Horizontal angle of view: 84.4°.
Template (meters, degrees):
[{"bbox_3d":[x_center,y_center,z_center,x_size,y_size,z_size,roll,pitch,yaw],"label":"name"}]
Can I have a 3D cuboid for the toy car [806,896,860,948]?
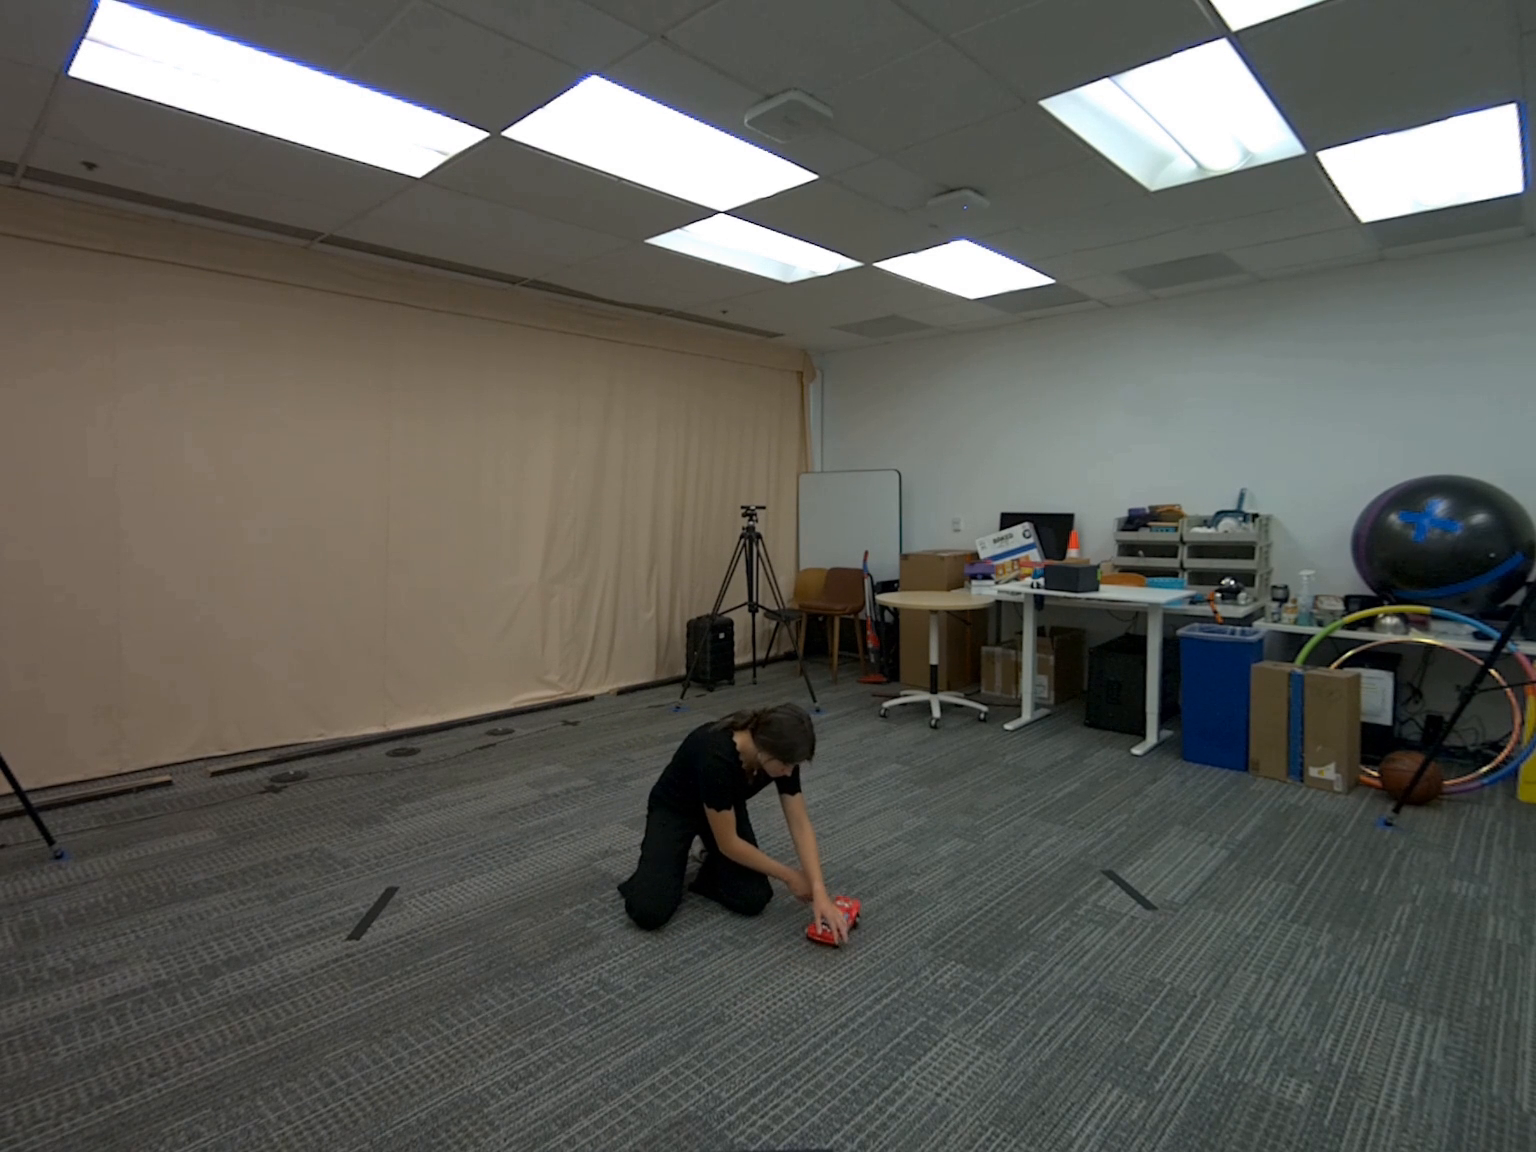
[{"bbox_3d":[0.224,1.129,2.763,0.134,0.082,0.250,2,17,26],"label":"toy car"}]
